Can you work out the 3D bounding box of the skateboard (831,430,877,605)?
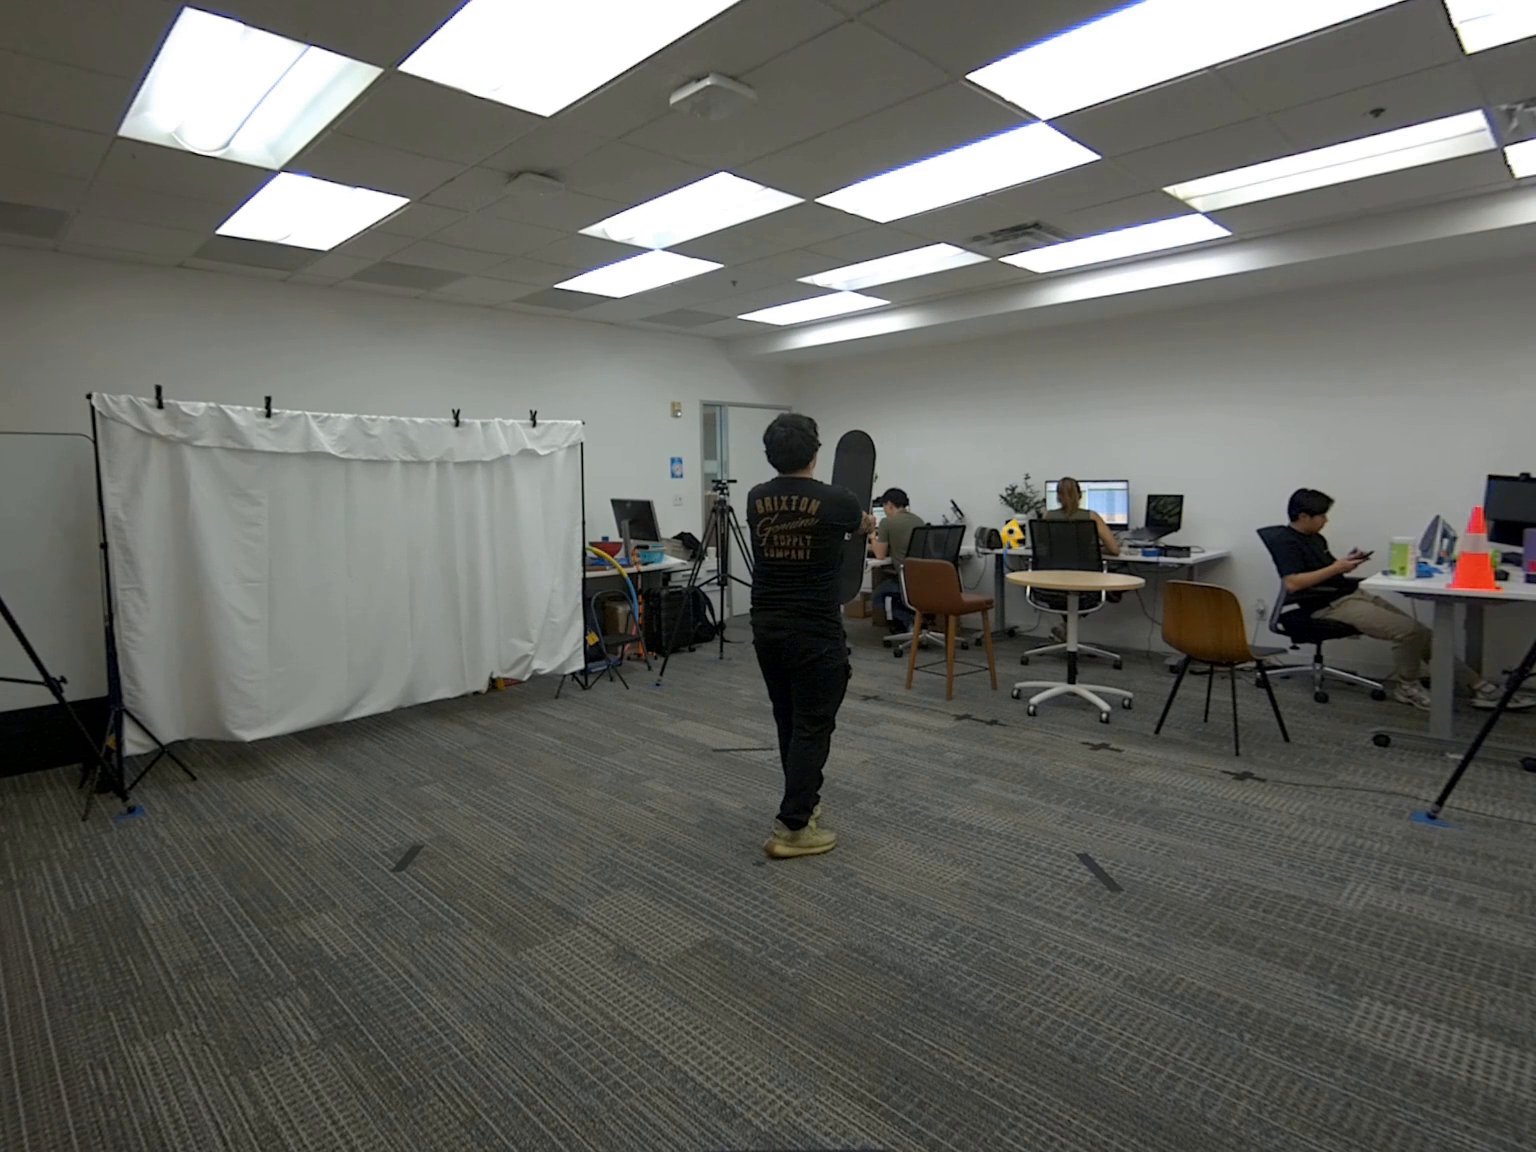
[{"bbox_3d":[0.363,-0.258,3.813,0.198,0.791,0.107,3,-10,23],"label":"skateboard"}]
